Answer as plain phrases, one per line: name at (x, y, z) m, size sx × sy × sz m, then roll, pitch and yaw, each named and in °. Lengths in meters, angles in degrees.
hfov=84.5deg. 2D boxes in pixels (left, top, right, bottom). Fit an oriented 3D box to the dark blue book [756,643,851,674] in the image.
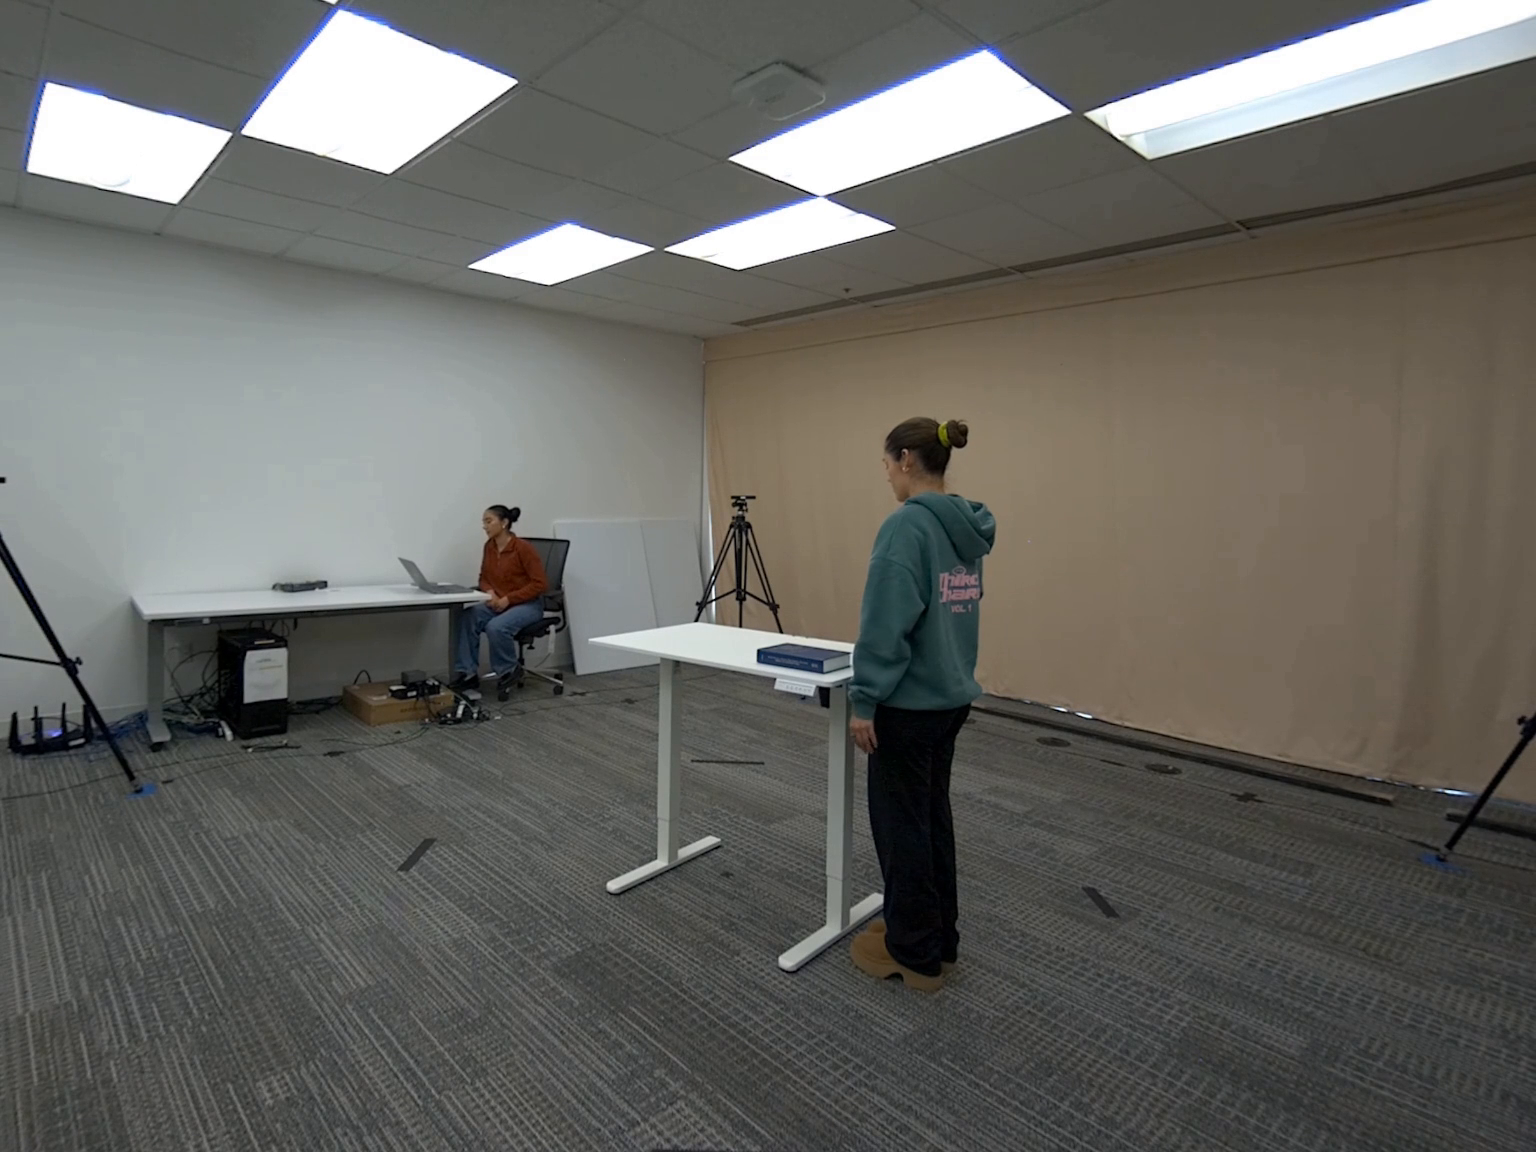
dark blue book at (0.097, 0.251, 2.582) m, size 0.251 × 0.045 × 0.160 m, roll 5°, pitch 6°, yaw 37°
